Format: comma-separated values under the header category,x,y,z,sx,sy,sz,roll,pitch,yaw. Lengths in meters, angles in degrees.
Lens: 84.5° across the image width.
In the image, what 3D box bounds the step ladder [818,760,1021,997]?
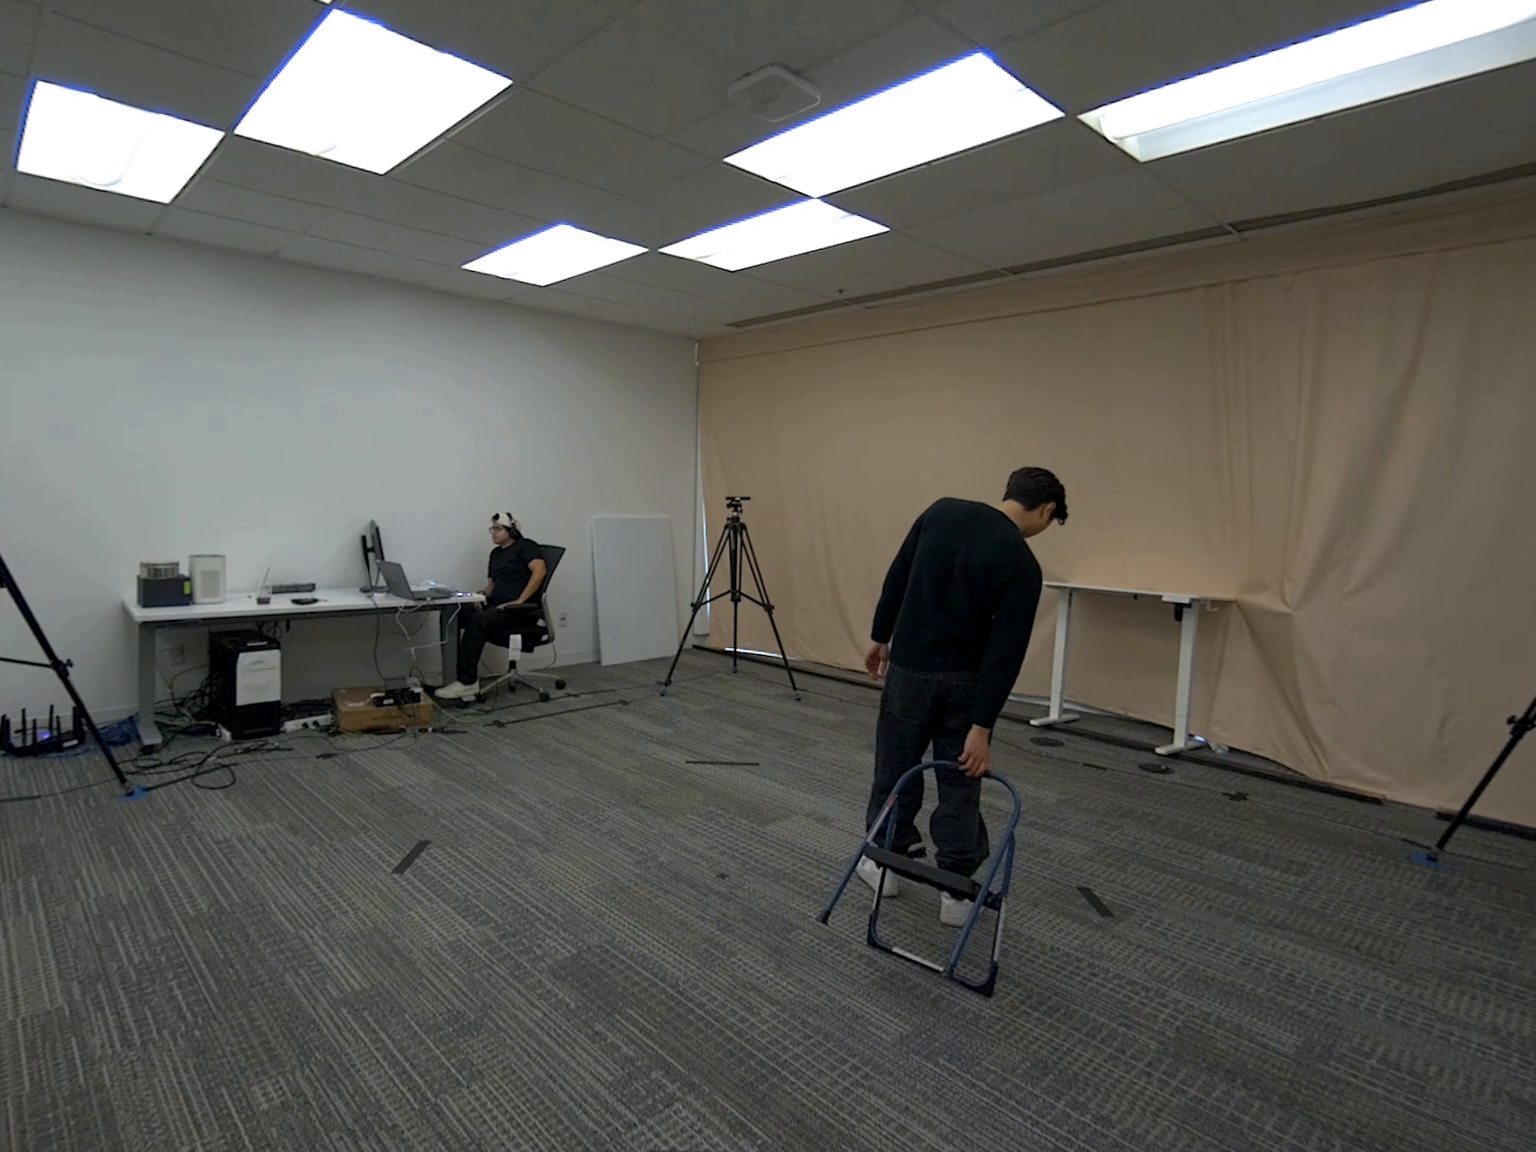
category,x,y,z,sx,sy,sz,roll,pitch,yaw
step ladder,0.493,0.841,2.508,0.442,0.610,0.338,7,-26,40
